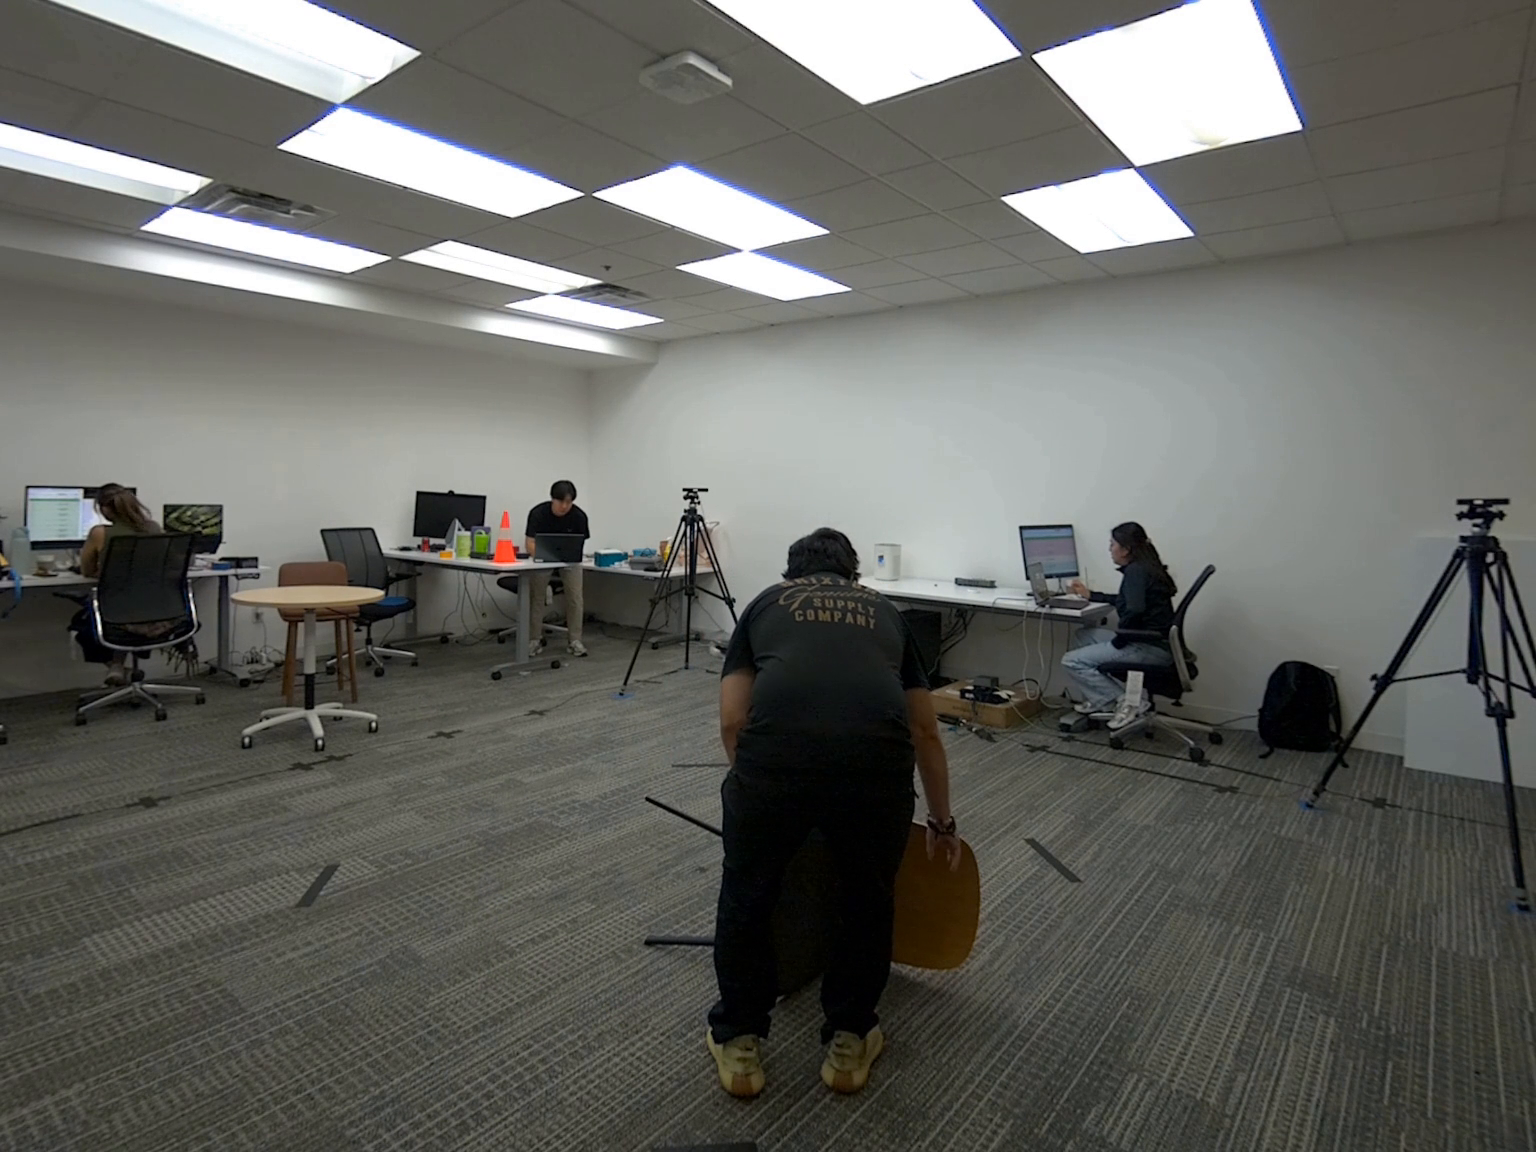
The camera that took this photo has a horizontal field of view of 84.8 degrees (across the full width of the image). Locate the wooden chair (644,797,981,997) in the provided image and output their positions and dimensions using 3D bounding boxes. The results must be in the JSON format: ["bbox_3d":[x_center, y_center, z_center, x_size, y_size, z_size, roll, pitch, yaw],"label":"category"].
[{"bbox_3d":[0.094,0.908,2.462,0.906,0.476,0.508,5,5,34],"label":"wooden chair"}]
